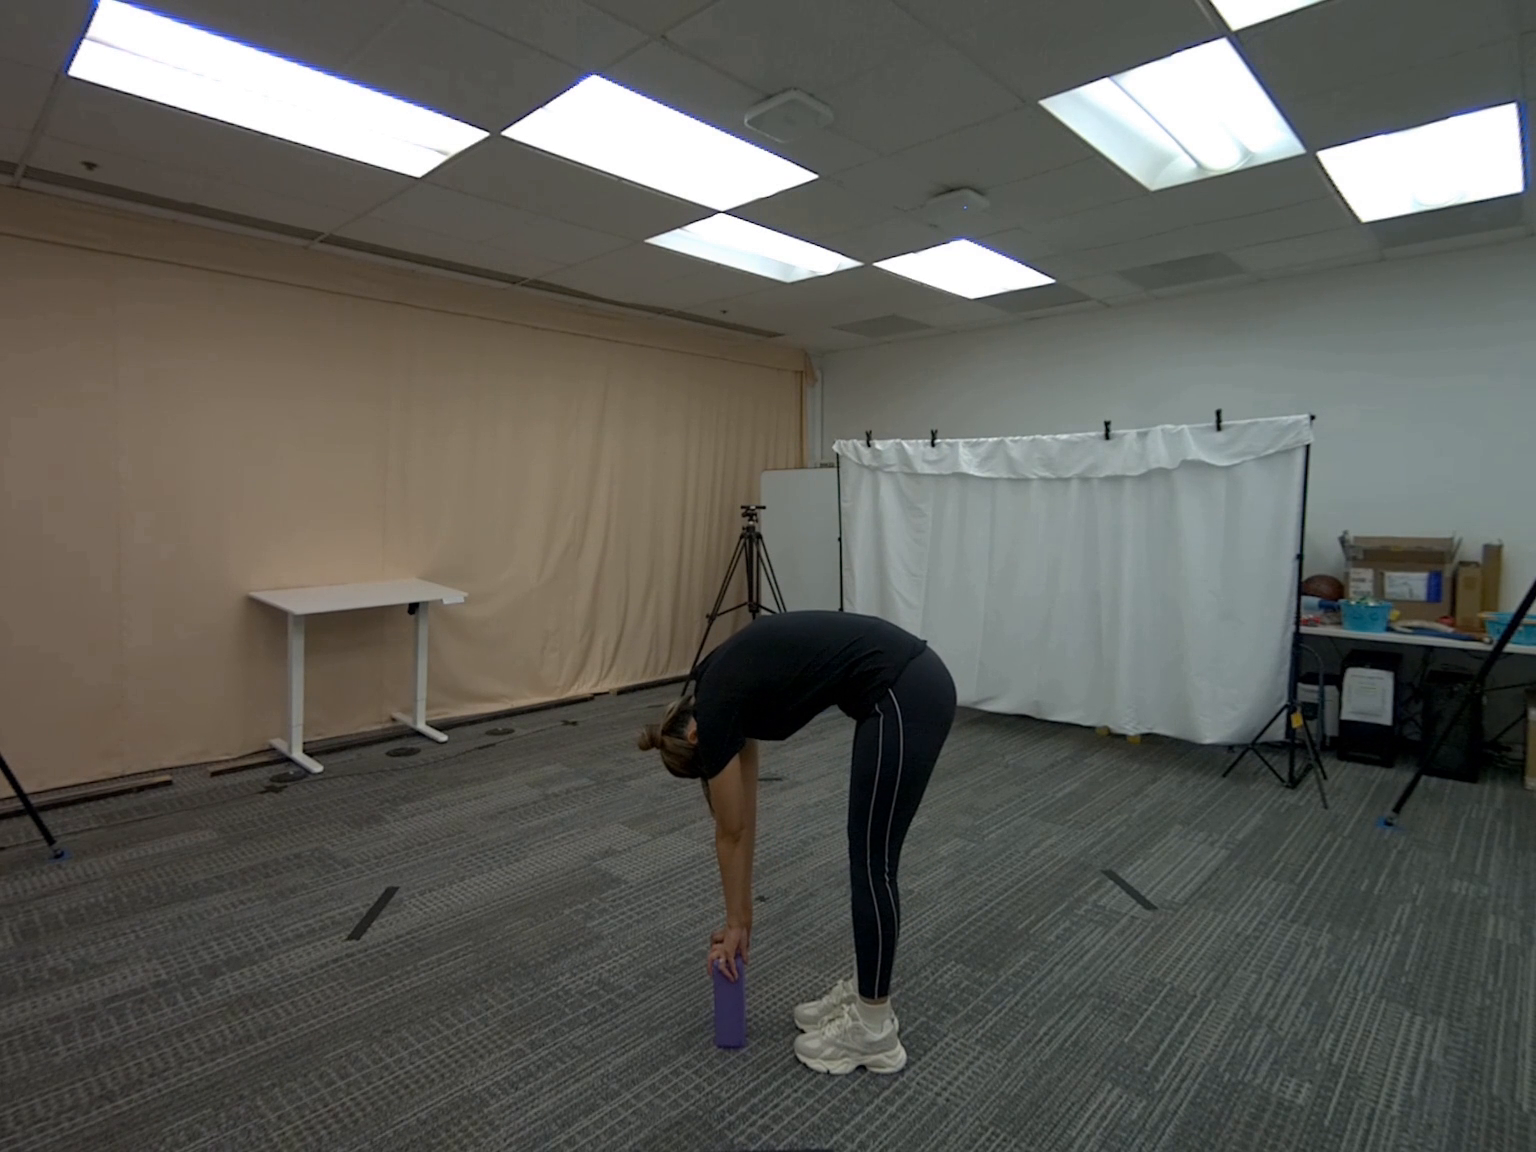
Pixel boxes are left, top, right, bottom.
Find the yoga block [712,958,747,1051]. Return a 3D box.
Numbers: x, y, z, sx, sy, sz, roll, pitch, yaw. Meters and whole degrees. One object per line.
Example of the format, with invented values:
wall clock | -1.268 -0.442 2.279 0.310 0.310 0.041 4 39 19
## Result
yoga block | -0.099 1.102 2.222 0.076 0.229 0.149 1 2 -1
